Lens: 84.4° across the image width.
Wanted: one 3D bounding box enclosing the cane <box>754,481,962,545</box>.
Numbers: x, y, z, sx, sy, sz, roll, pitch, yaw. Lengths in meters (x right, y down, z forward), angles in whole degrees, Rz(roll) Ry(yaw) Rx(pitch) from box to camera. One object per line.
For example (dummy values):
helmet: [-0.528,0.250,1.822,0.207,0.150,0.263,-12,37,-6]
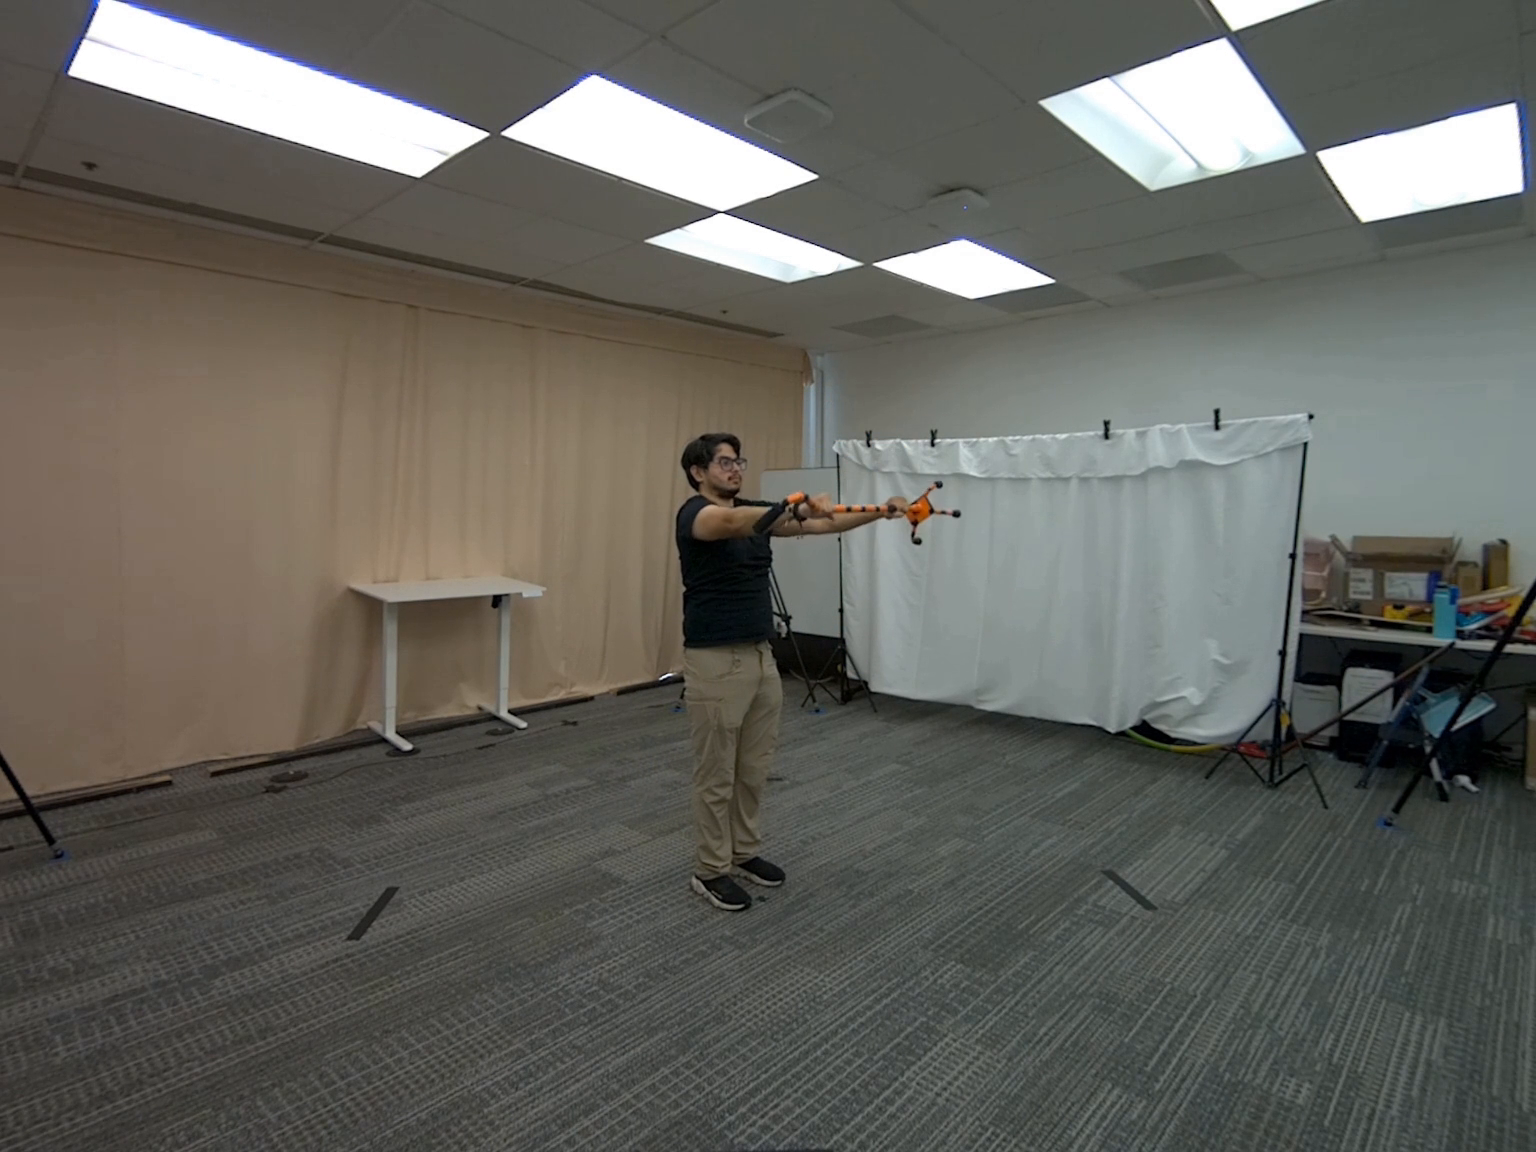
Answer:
cane: [0.304,-0.195,2.634,0.208,0.154,0.881,-41,-21,33]
